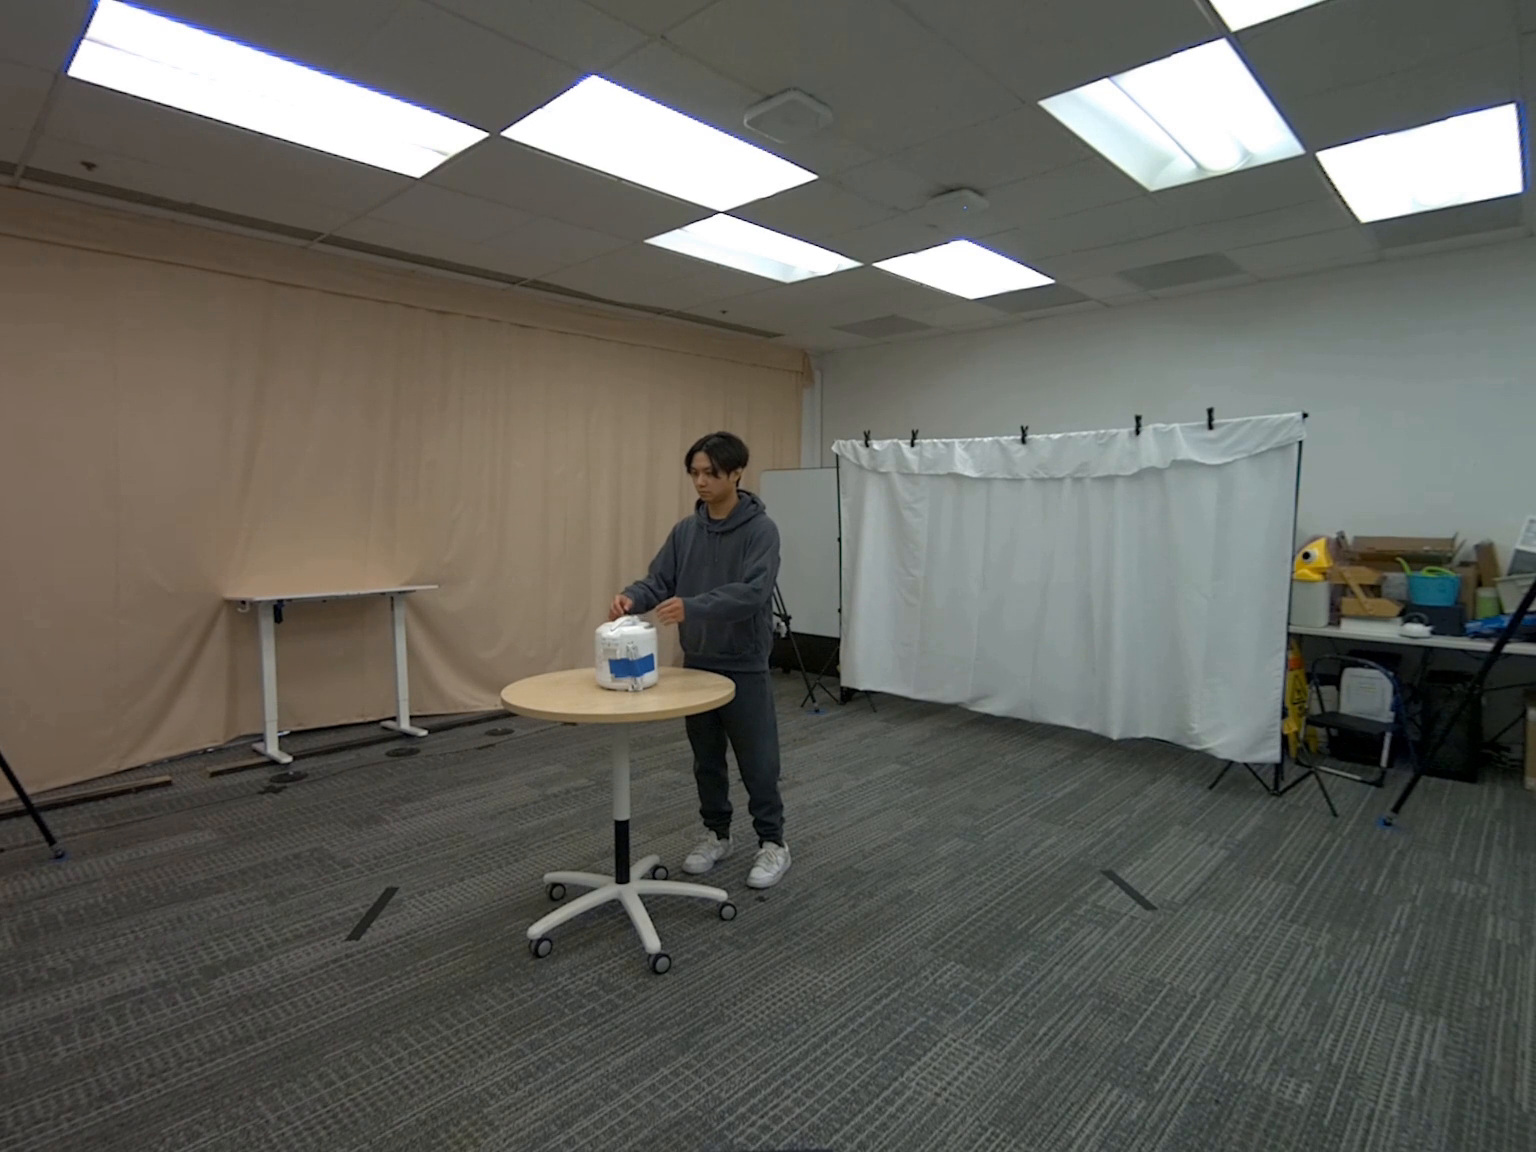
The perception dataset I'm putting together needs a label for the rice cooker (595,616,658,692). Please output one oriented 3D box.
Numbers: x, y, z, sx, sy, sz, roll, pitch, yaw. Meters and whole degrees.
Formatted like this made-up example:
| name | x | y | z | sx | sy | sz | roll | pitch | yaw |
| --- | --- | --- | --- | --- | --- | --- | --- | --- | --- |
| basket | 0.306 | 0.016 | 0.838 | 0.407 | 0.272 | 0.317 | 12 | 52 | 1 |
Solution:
| name | x | y | z | sx | sy | sz | roll | pitch | yaw |
| --- | --- | --- | --- | --- | --- | --- | --- | --- | --- |
| rice cooker | -0.472 | 0.251 | 2.790 | 0.223 | 0.232 | 0.215 | 2 | 3 | 24 |
